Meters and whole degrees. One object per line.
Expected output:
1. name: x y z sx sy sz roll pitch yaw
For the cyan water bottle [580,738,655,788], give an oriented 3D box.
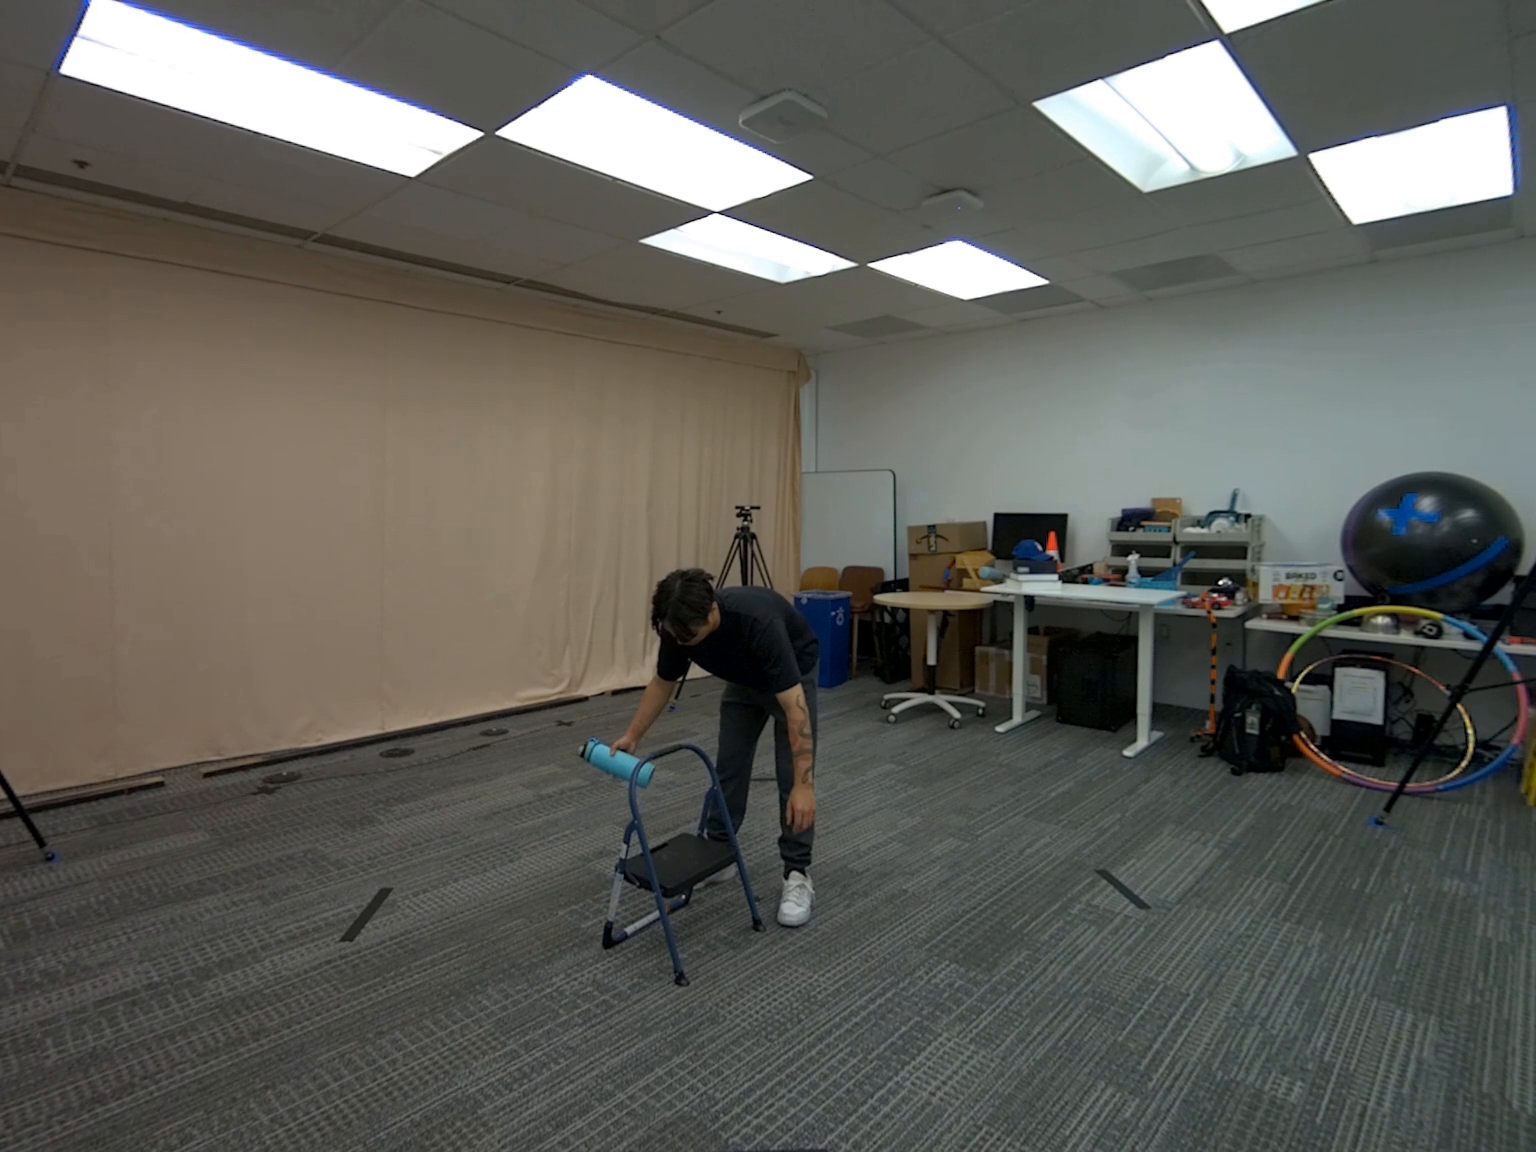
1. cyan water bottle: -0.547 0.688 3.060 0.286 0.092 0.091 21 6 7
